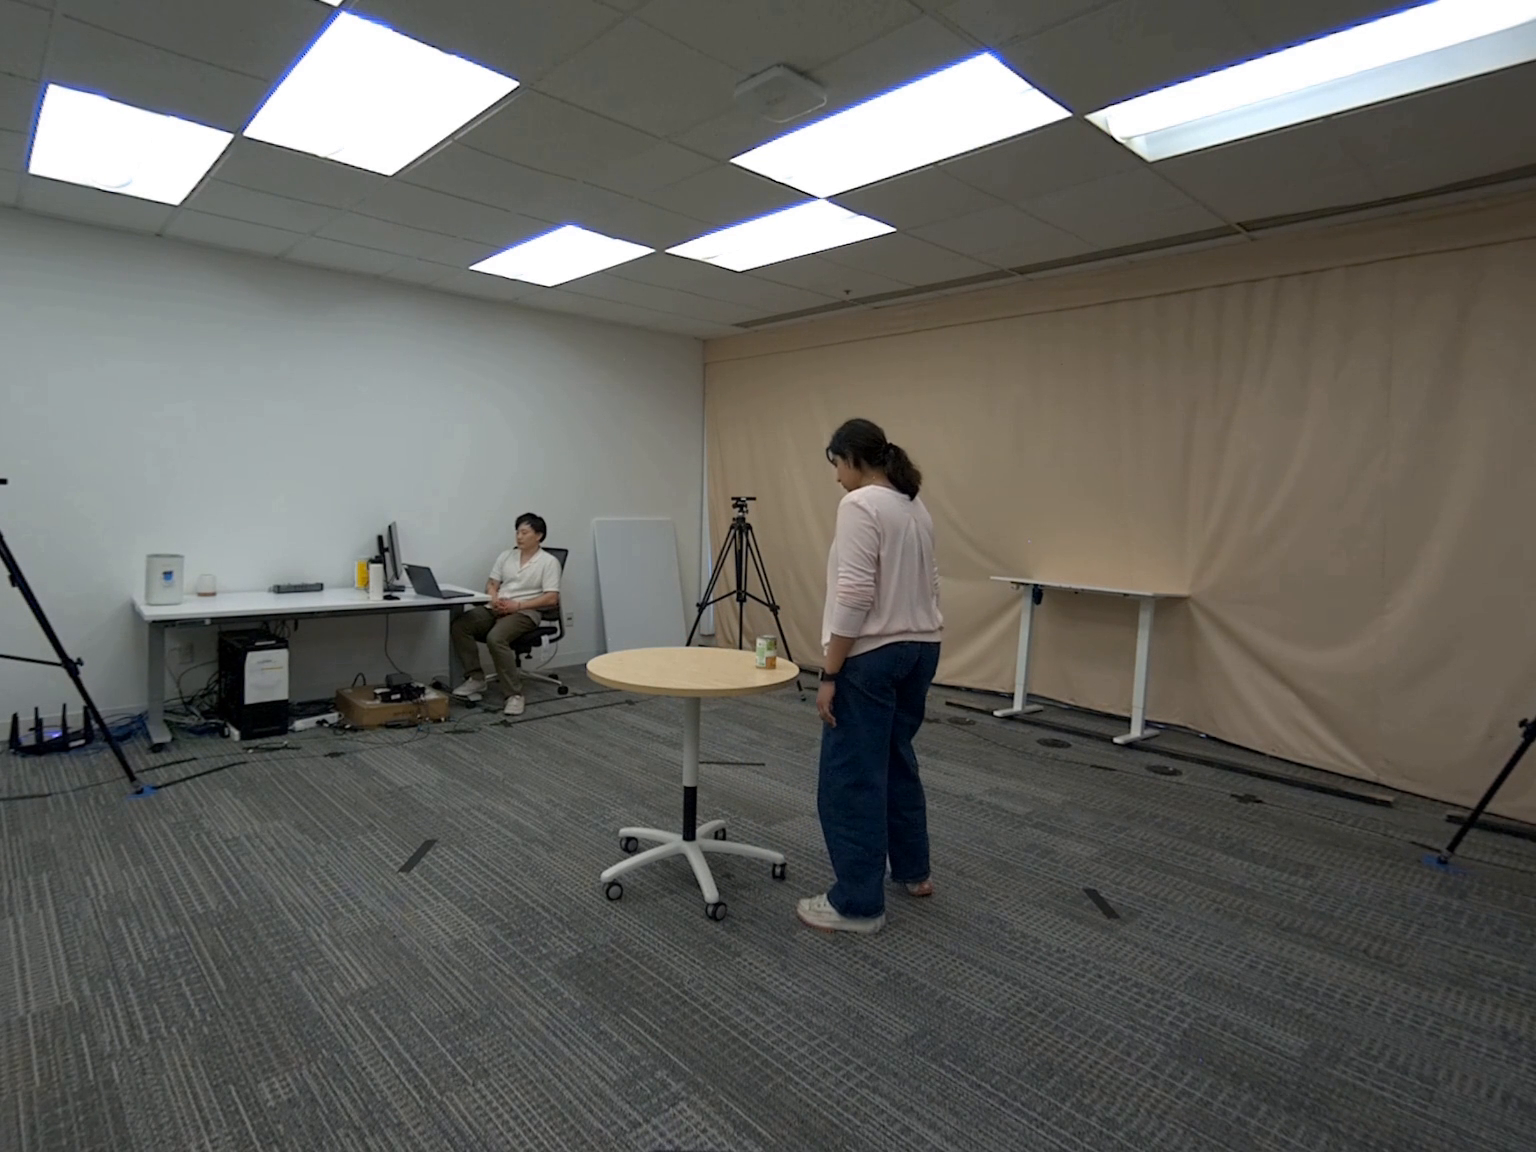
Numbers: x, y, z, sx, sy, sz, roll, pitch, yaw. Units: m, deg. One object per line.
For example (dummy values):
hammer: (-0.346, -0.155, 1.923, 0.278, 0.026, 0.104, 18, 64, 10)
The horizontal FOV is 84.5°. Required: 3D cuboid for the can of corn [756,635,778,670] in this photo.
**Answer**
can of corn: (-0.006, 0.282, 3.051, 0.074, 0.111, 0.074, 5, 2, -2)
